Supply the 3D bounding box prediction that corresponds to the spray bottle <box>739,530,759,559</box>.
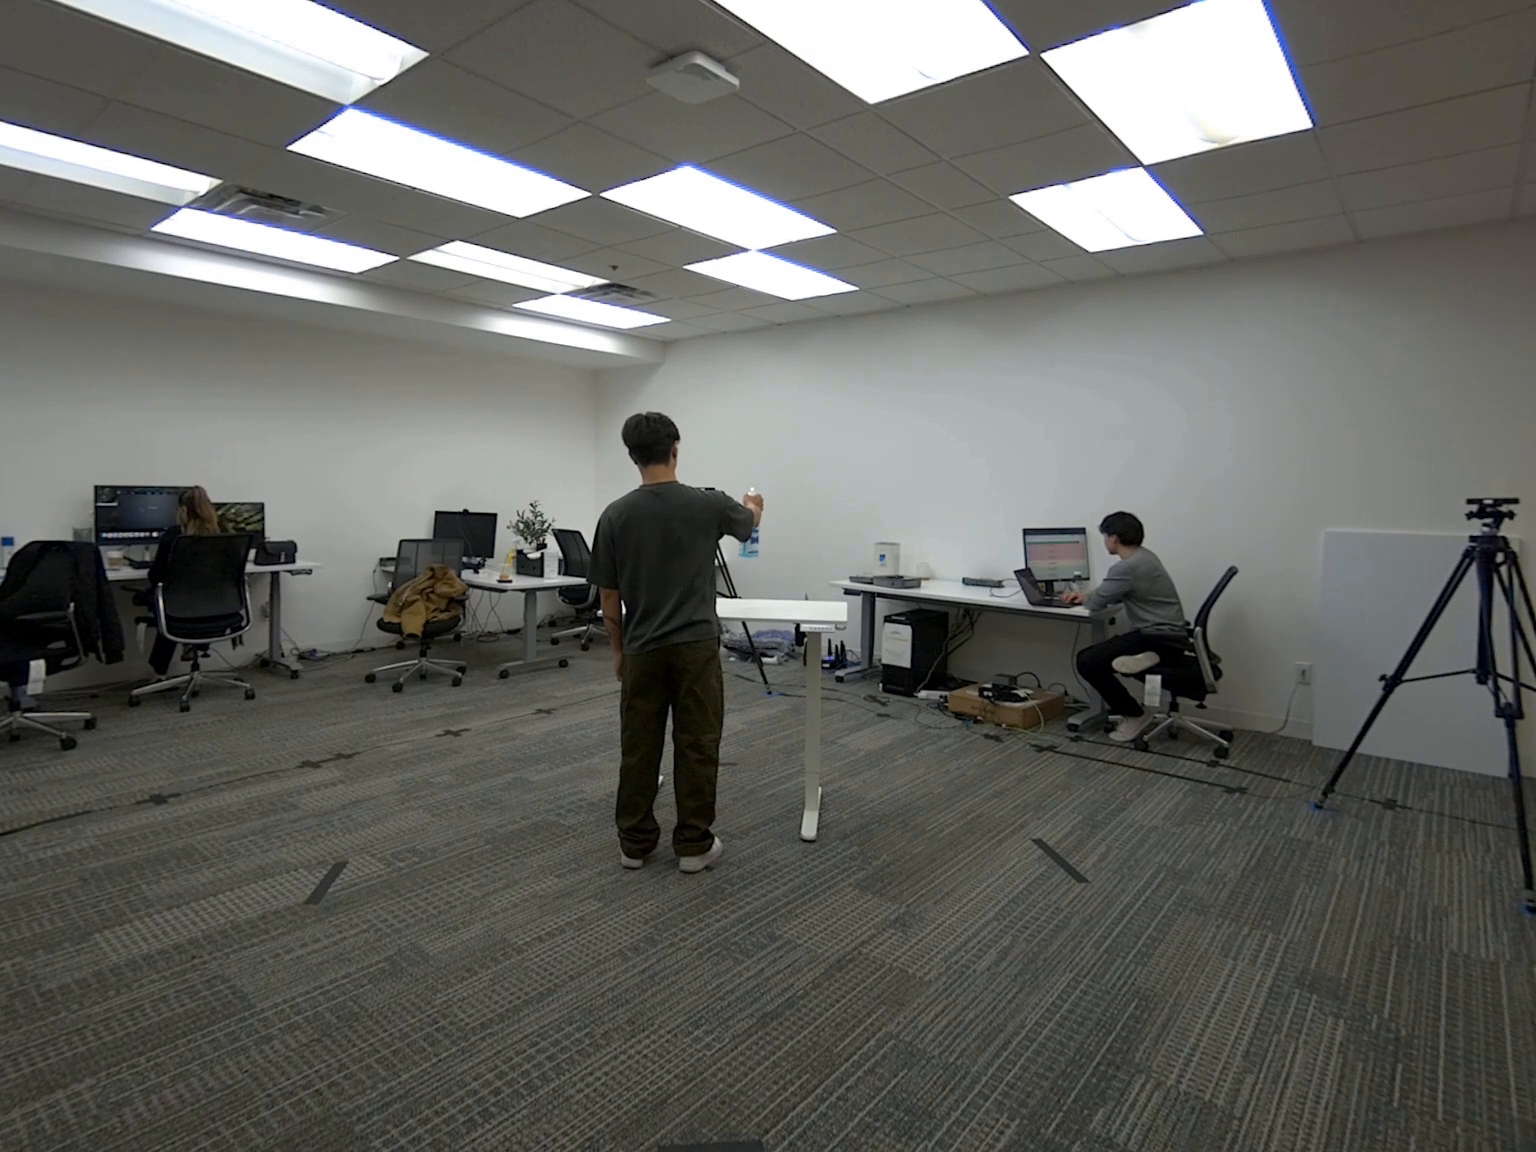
[{"bbox_3d":[-0.081,-0.233,3.661,0.089,0.295,0.088,7,9,25],"label":"spray bottle"}]
